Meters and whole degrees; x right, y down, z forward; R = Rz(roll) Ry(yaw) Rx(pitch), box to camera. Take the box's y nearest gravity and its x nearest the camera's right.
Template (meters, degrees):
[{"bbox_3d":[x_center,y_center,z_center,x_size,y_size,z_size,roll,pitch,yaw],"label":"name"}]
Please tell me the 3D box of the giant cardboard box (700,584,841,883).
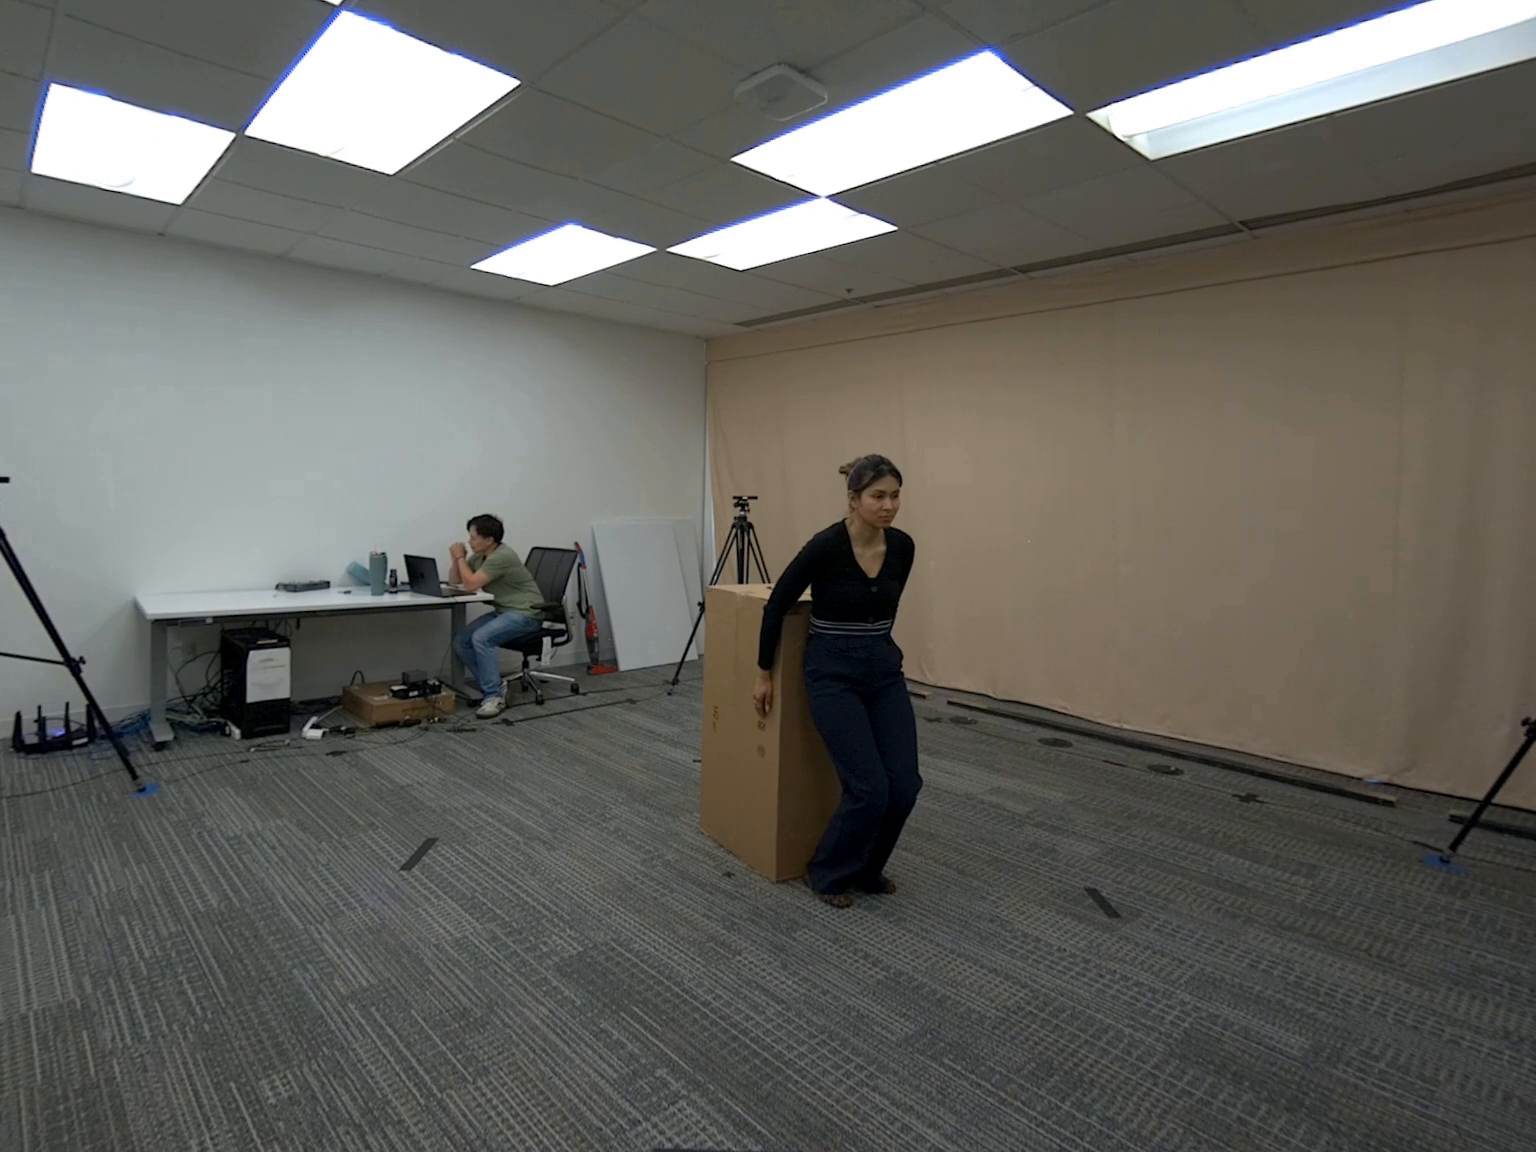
[{"bbox_3d":[0.048,0.574,3.370,0.417,1.024,0.591,0,3,-32],"label":"giant cardboard box"}]
